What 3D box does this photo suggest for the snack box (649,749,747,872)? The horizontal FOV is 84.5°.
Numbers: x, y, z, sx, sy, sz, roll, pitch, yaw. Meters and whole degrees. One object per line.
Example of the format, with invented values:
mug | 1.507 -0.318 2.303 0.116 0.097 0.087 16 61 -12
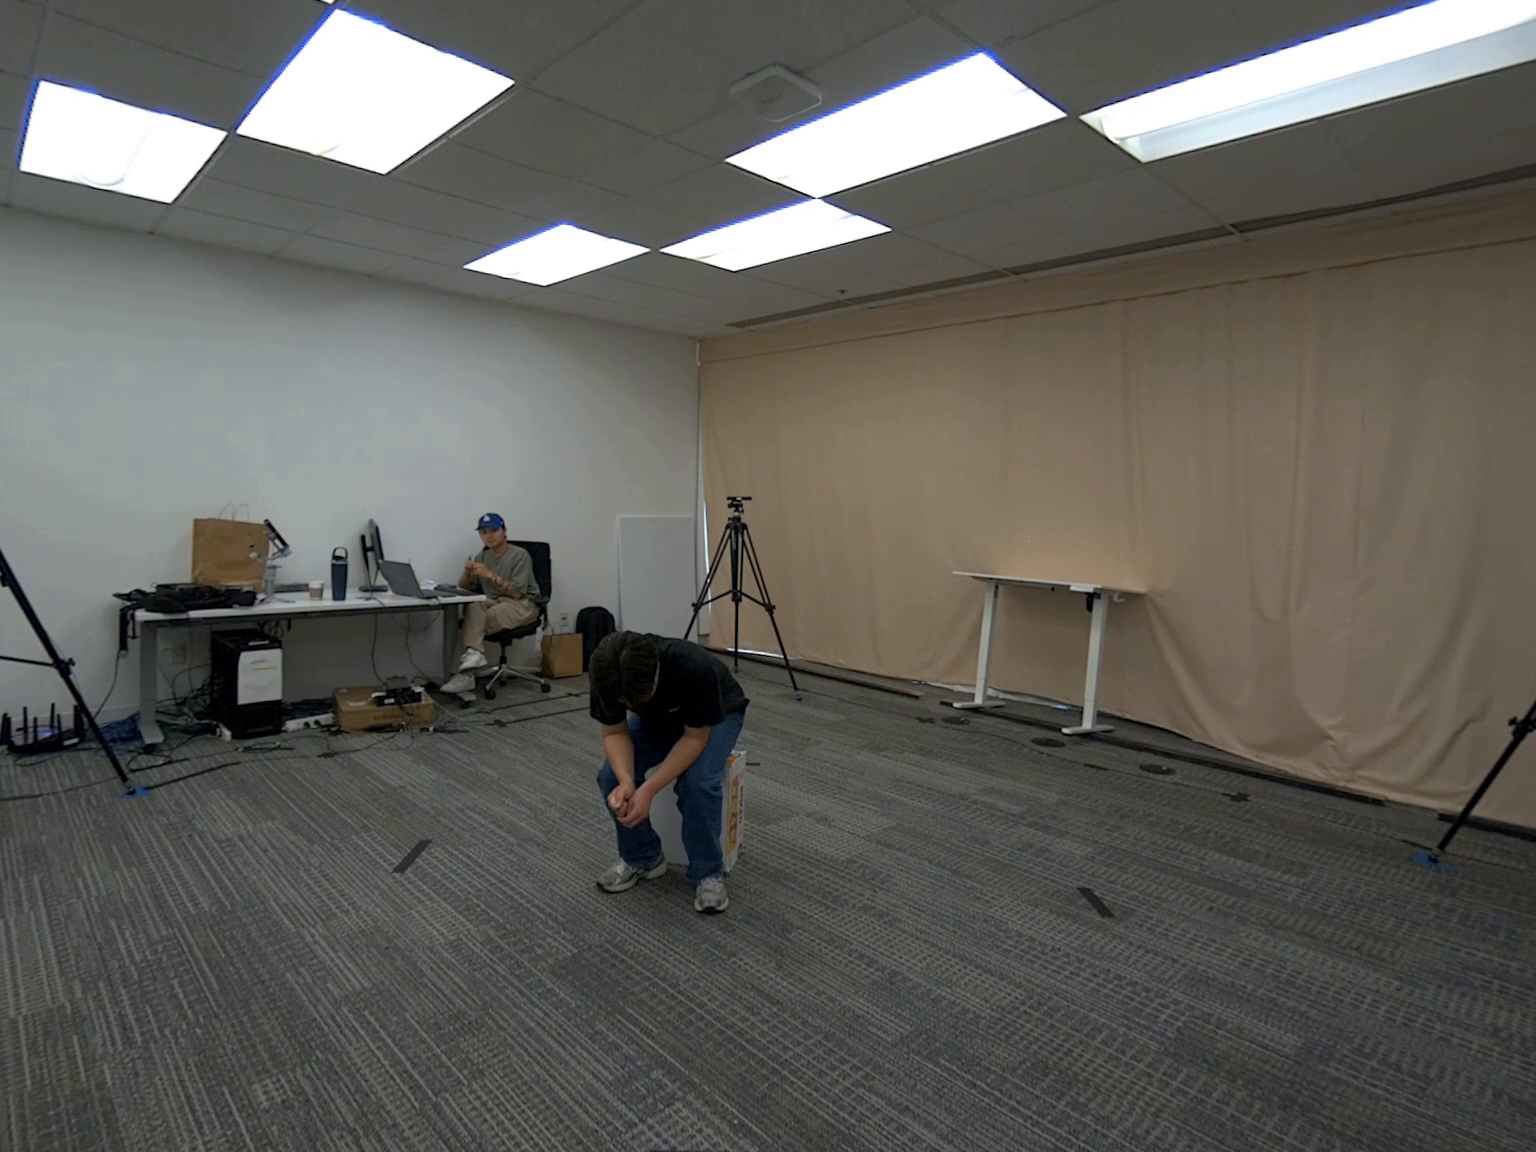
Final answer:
snack box | -0.283 0.888 3.254 0.345 0.404 0.203 3 4 16
